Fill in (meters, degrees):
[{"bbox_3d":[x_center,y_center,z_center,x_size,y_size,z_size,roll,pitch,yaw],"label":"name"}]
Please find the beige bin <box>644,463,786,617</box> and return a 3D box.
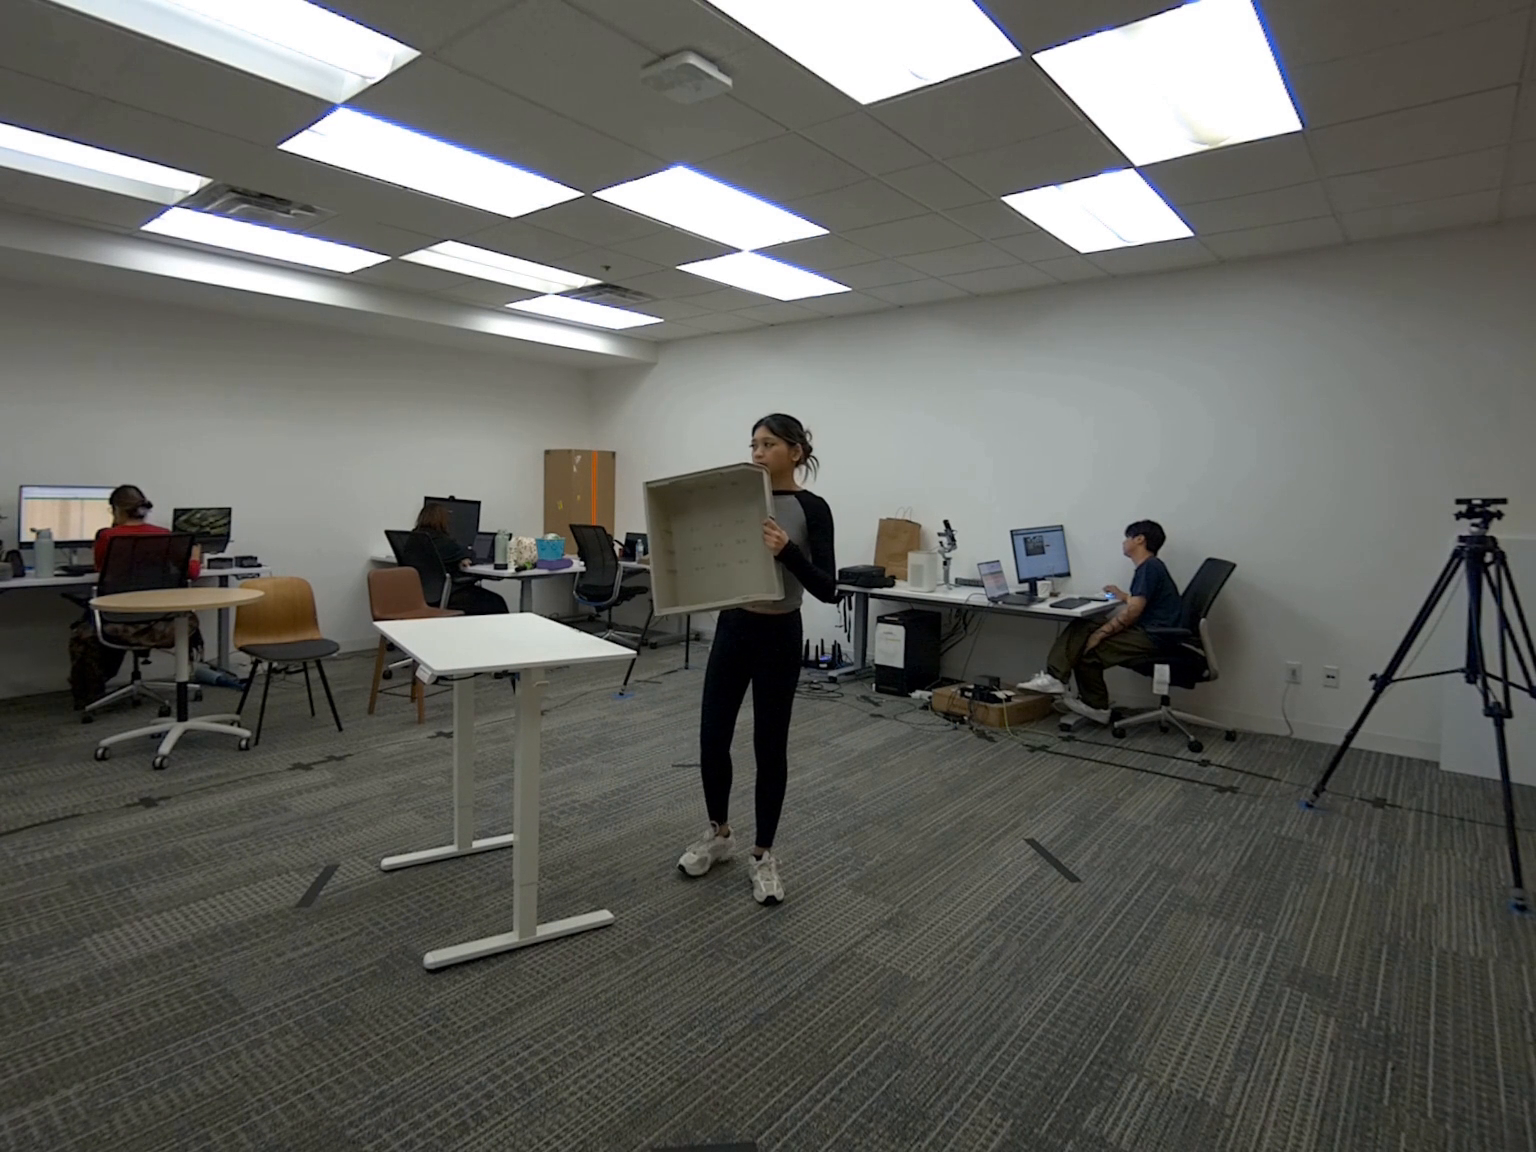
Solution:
[{"bbox_3d":[-0.174,-0.114,2.652,0.384,0.426,0.184,-9,-9,20],"label":"beige bin"}]
